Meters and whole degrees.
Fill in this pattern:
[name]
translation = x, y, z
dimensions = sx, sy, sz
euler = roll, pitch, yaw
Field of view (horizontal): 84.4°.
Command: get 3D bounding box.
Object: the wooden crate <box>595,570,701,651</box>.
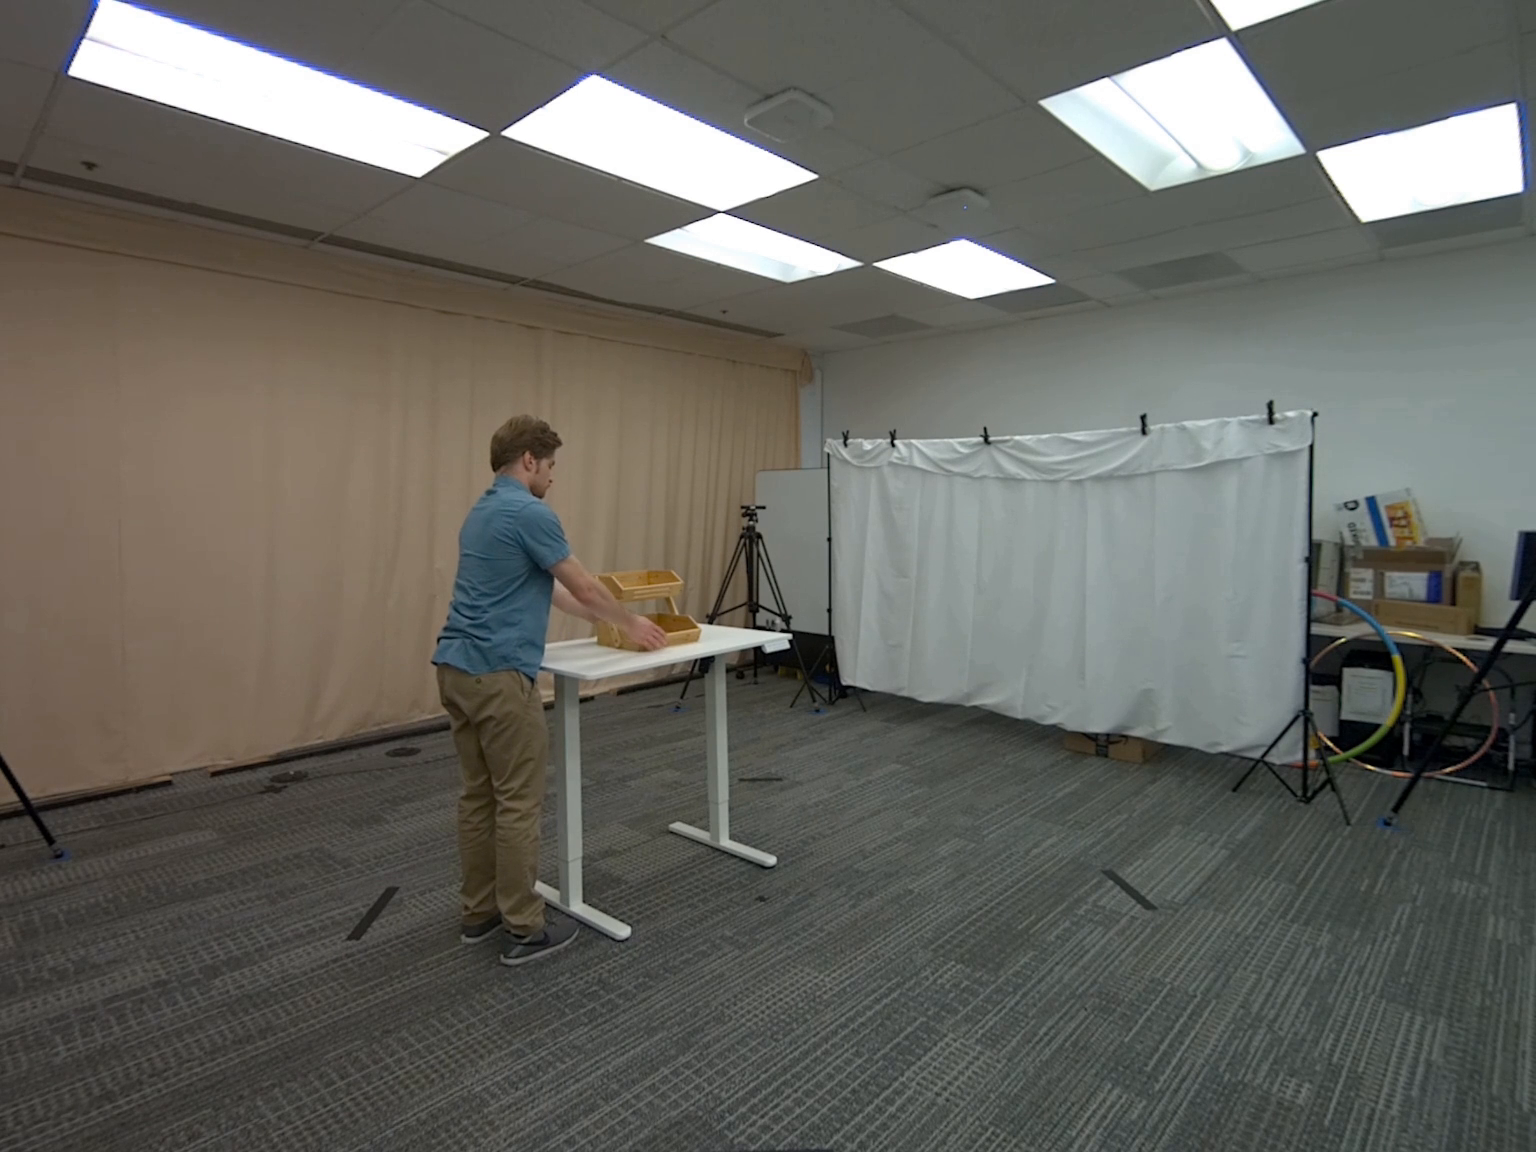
[wooden crate]
translation = -0.459, 0.118, 3.153
dimensions = 0.312, 0.273, 0.314
euler = 2, 5, 42
